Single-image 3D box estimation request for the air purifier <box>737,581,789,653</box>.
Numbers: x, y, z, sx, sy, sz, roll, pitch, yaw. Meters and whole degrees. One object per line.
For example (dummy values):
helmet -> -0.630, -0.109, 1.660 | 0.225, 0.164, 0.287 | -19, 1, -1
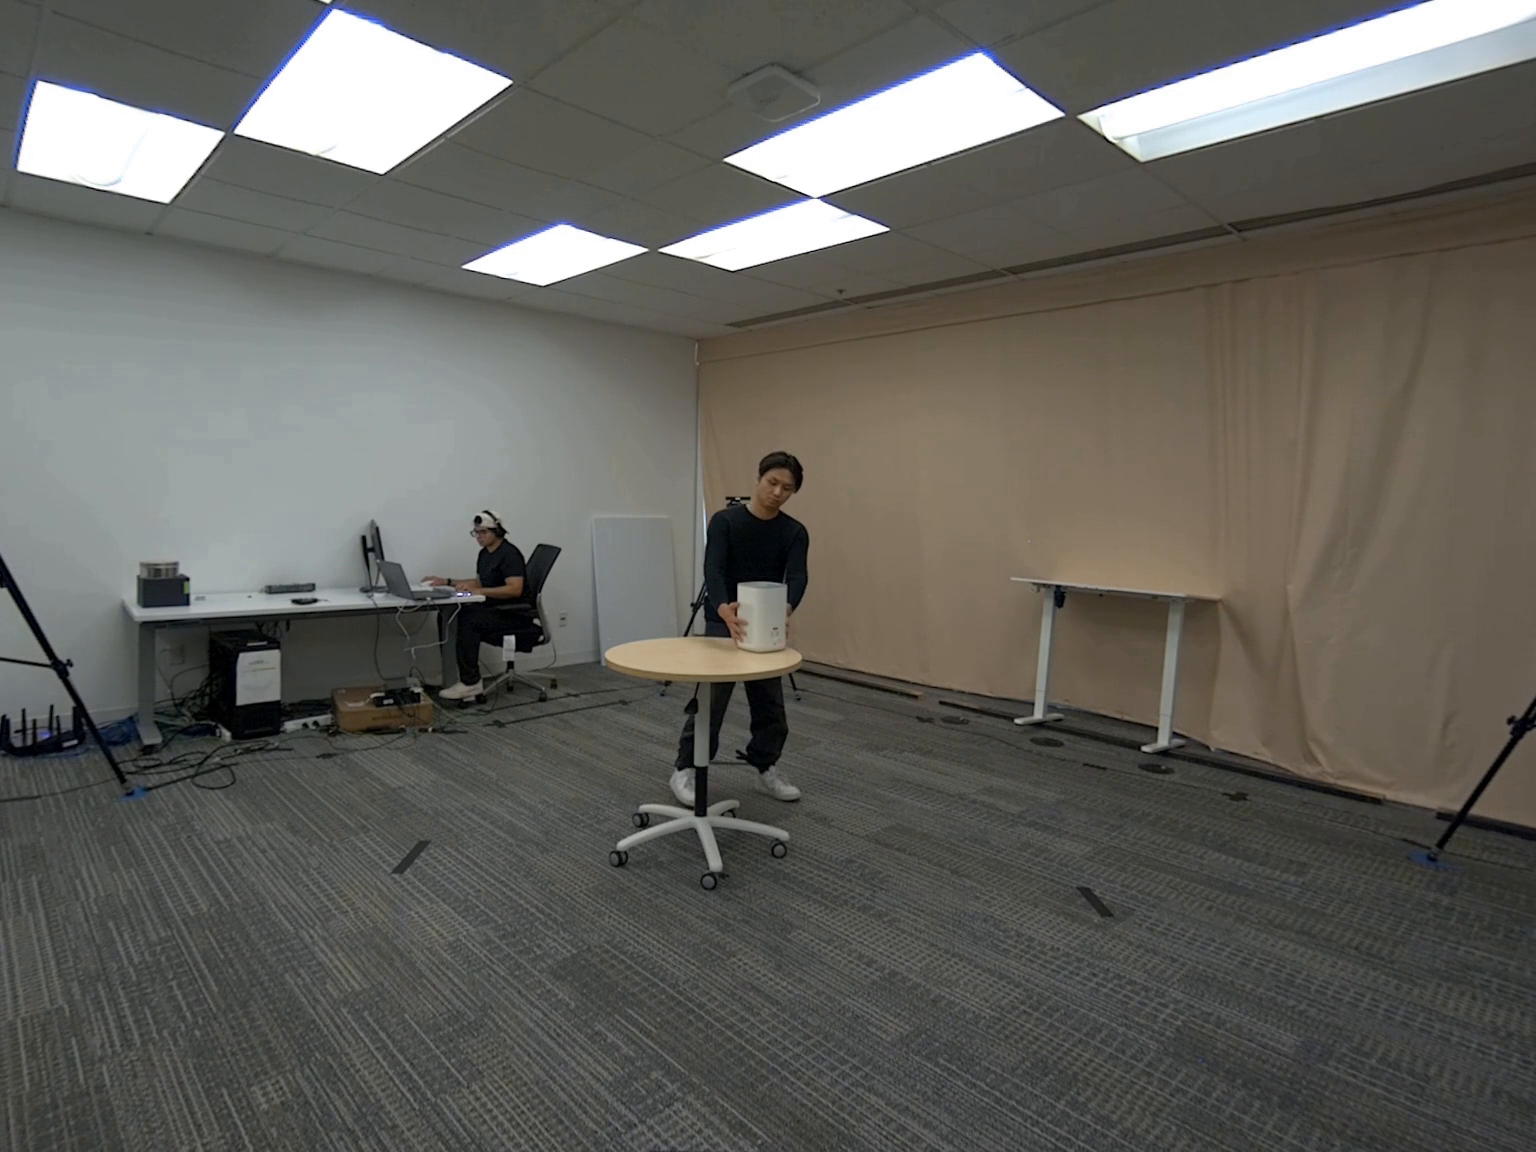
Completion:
air purifier -> -0.036, 0.165, 3.397 | 0.167, 0.265, 0.176 | -2, 4, -40
